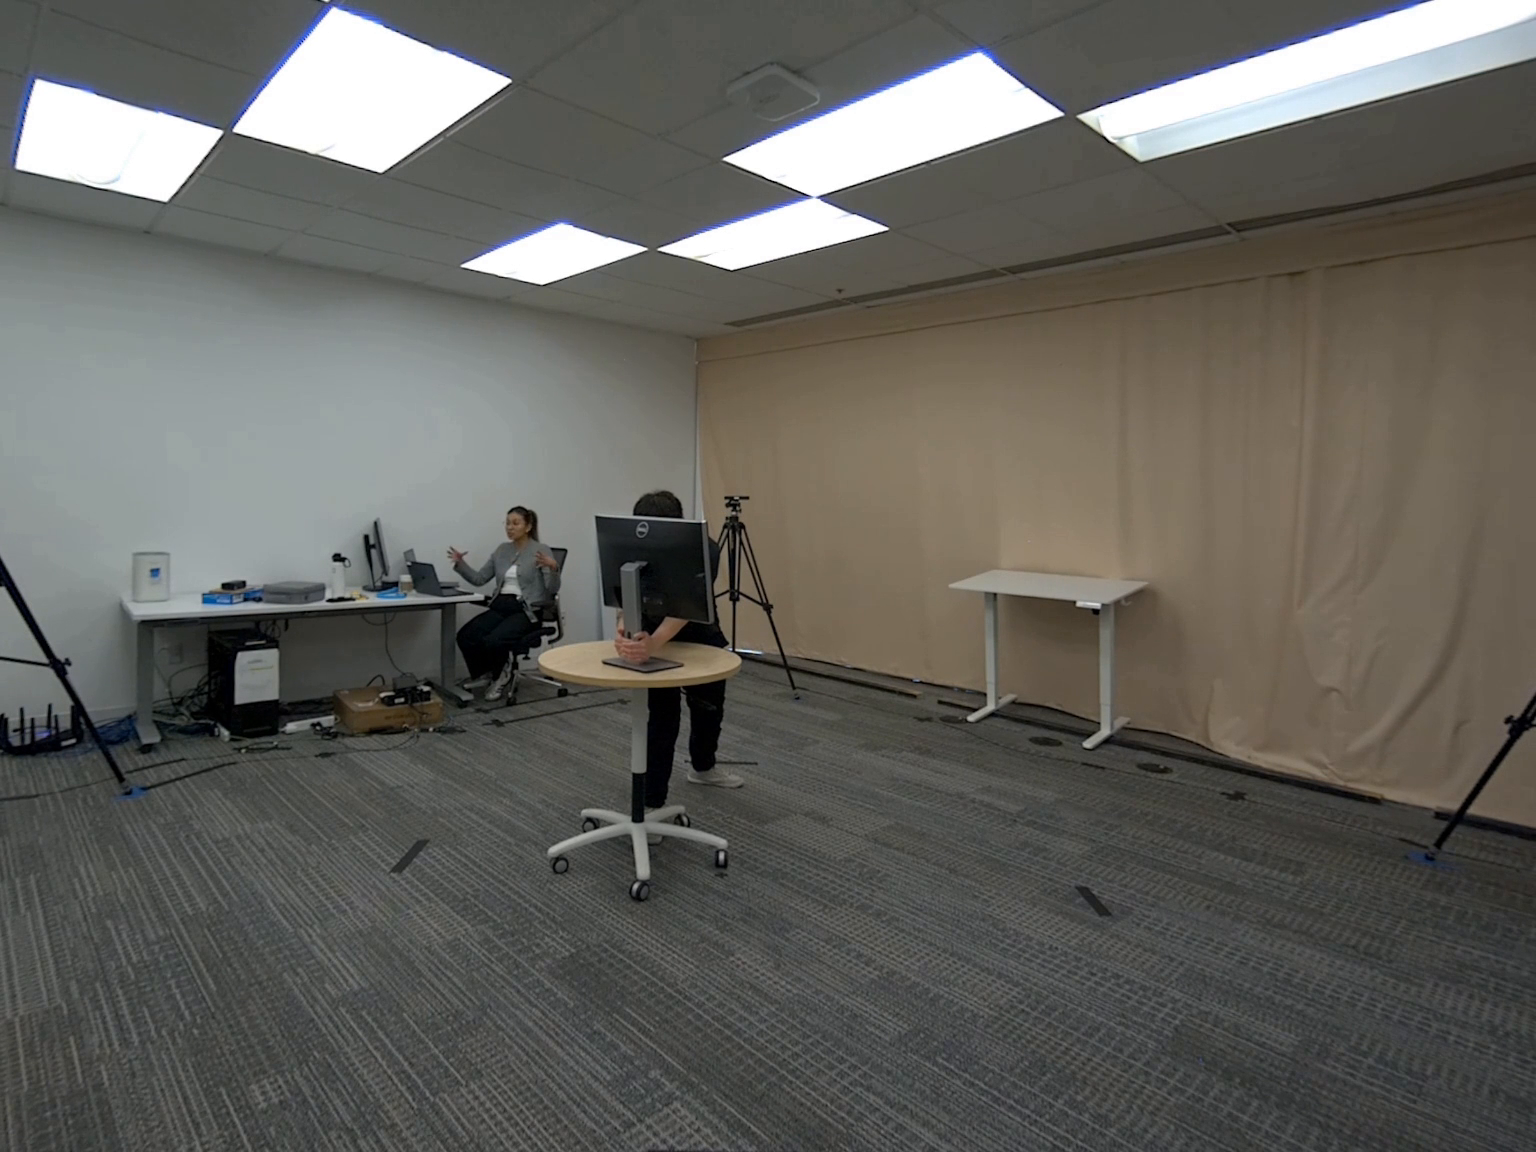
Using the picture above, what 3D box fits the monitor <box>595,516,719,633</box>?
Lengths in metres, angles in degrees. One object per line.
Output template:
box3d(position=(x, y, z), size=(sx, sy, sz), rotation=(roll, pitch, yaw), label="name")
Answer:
box3d(position=(-0.459, 0.062, 3.055), size=(0.552, 0.522, 0.183), rotation=(4, 2, 37), label="monitor")
